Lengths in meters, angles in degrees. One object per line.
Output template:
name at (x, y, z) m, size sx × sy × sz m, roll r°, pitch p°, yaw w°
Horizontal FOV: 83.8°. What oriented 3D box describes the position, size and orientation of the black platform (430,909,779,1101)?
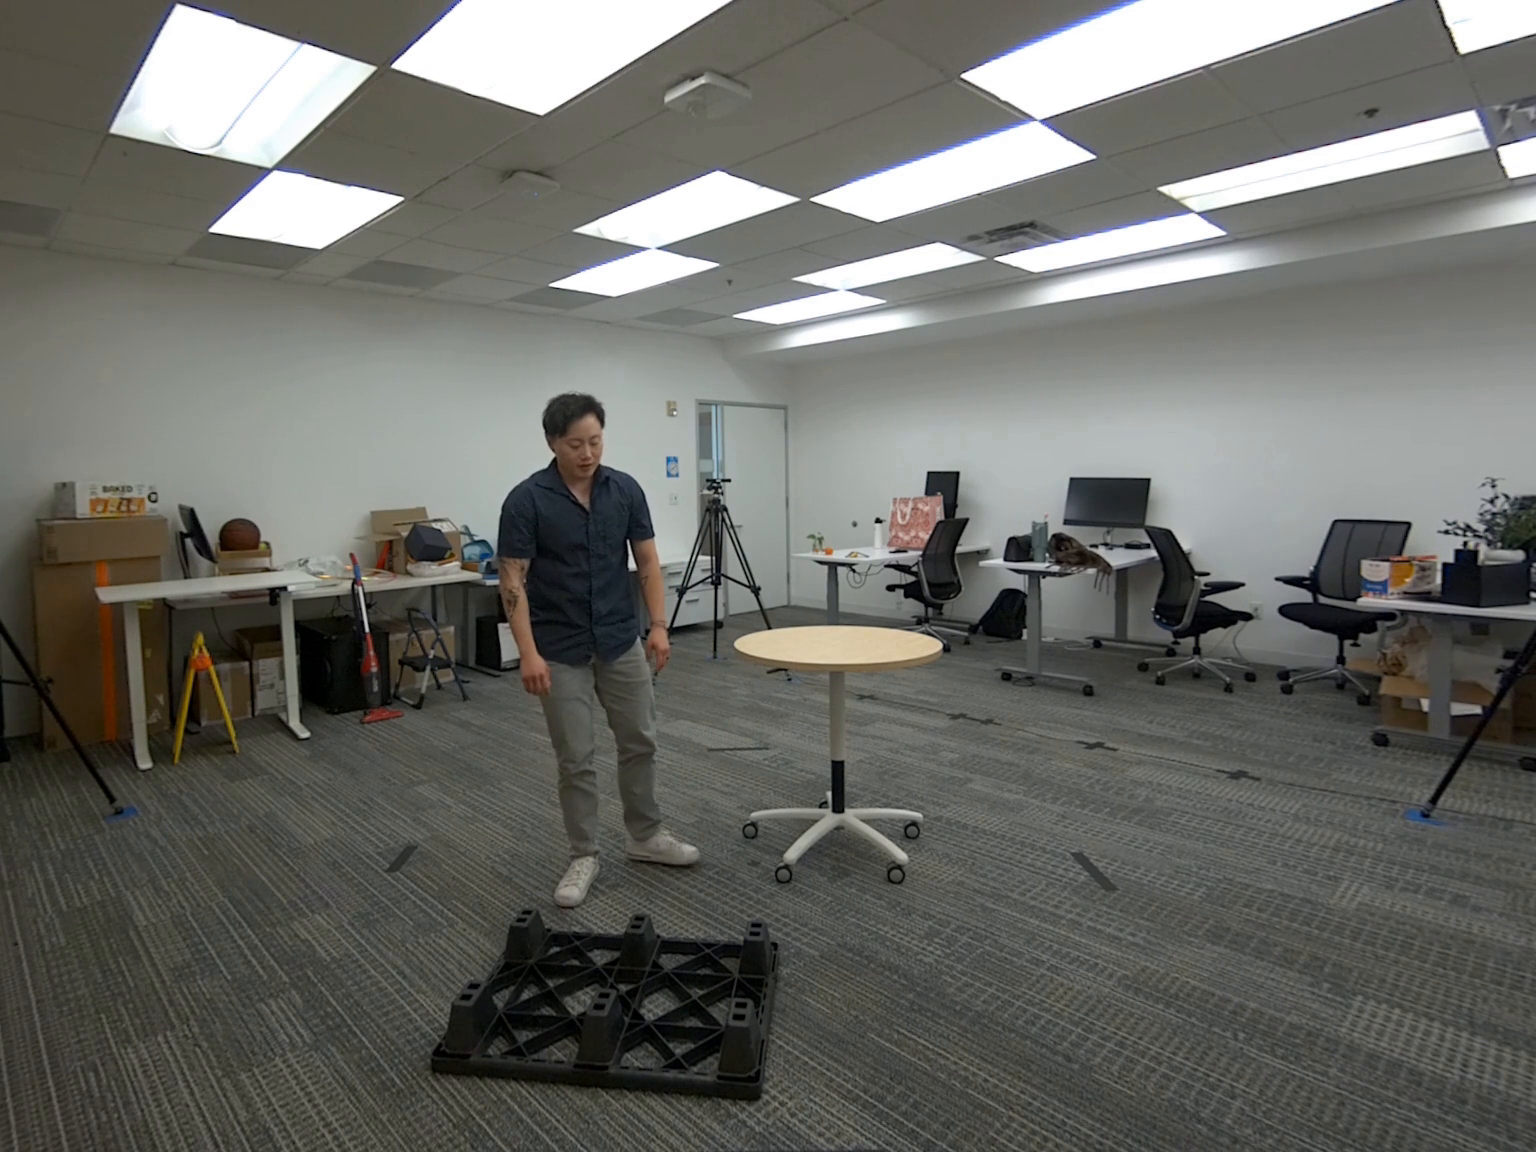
black platform at (-0.385, 1.084, 2.262) m, size 0.811 × 0.142 × 0.604 m, roll -1°, pitch 6°, yaw 7°
